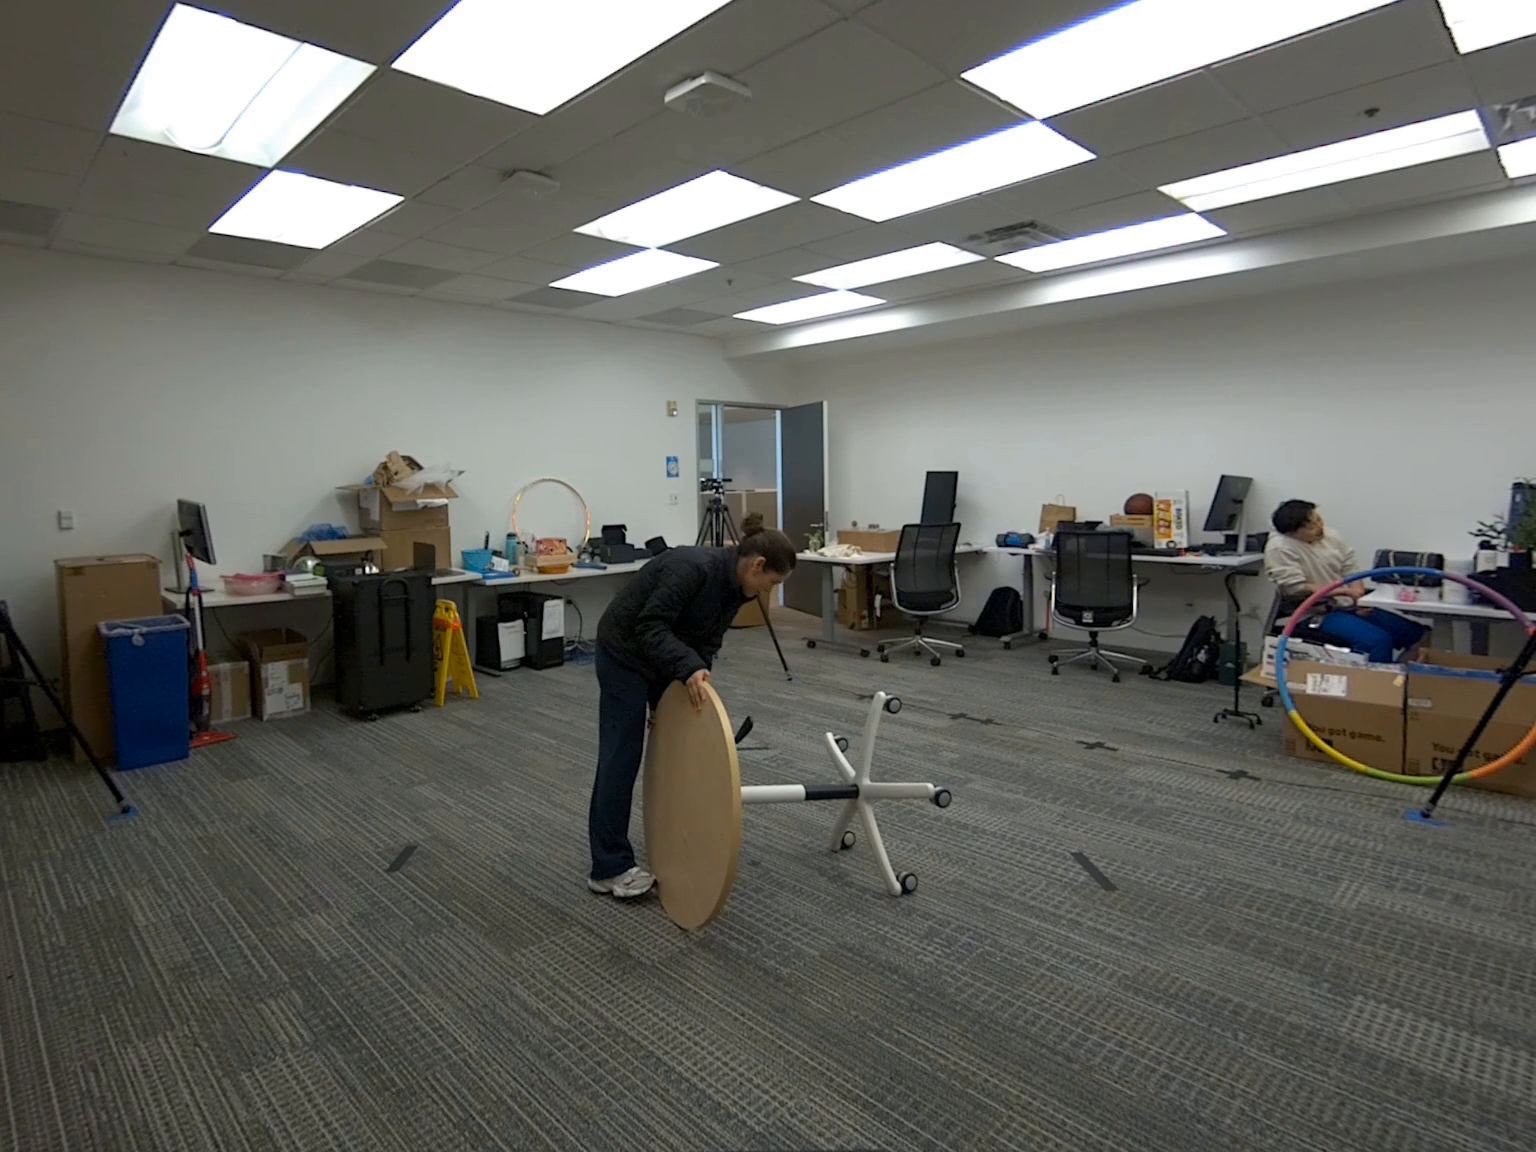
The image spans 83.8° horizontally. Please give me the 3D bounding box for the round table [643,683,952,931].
[{"bbox_3d":[0.077,0.731,2.910,0.766,0.785,0.806,5,1,-28],"label":"round table"}]
